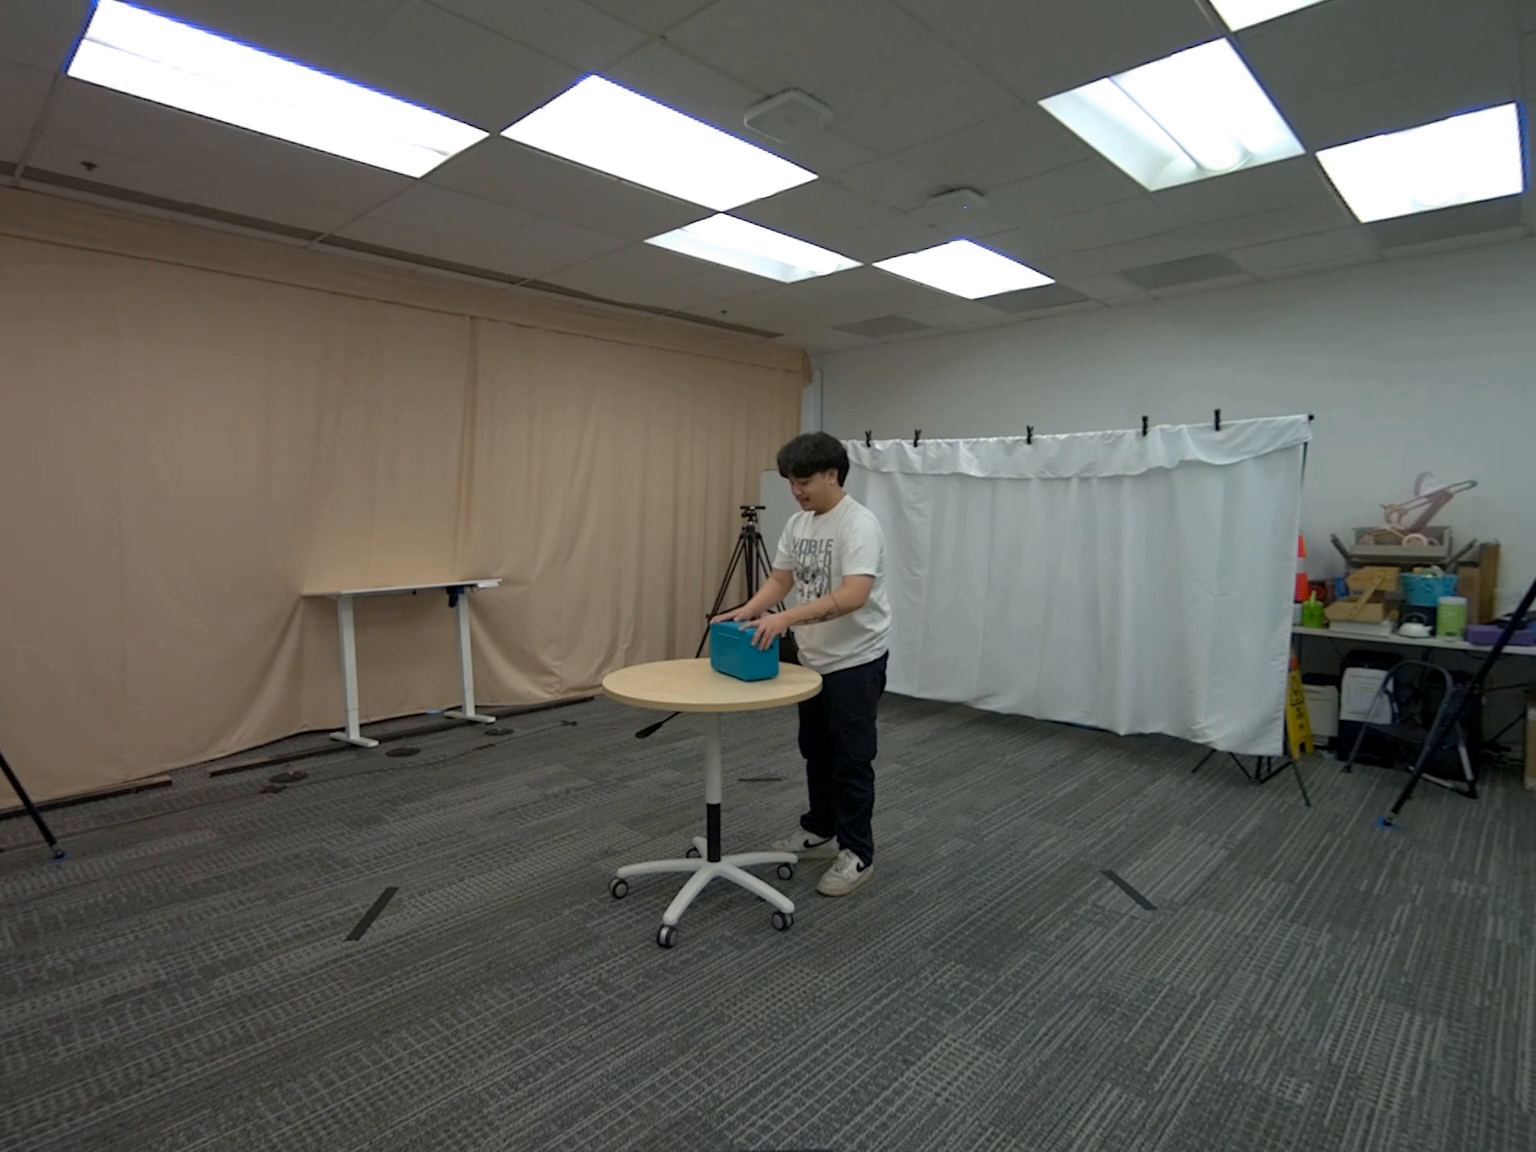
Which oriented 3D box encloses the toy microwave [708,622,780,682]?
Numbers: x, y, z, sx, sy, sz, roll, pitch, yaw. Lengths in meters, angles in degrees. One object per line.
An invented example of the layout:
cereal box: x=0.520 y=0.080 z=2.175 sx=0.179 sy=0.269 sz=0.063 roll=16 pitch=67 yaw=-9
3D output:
toy microwave: x=-0.079 y=0.262 z=2.996 sx=0.148 sy=0.184 sz=0.294 roll=-2 pitch=4 yaw=-29
